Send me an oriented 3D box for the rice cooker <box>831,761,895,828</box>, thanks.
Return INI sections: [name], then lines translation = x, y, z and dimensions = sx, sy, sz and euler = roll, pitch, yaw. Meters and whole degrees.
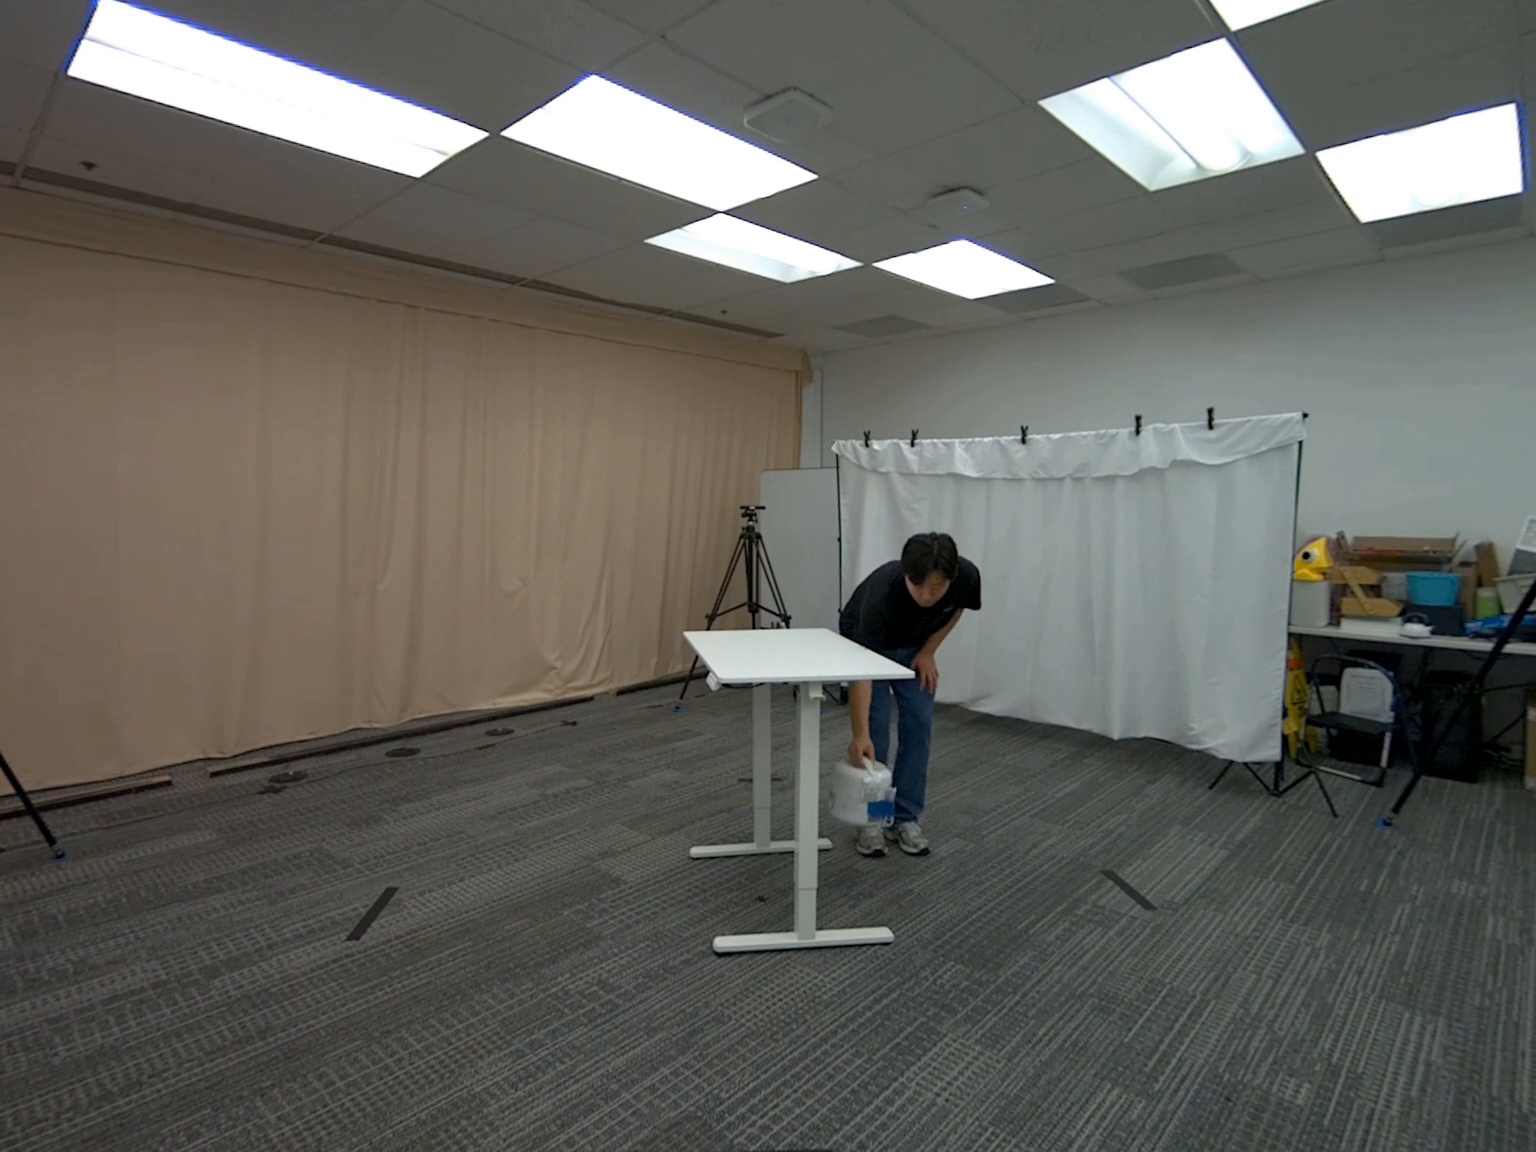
[rice cooker]
translation = 0.344, 0.764, 3.065
dimensions = 0.215, 0.232, 0.223
euler = 5, 3, -8
